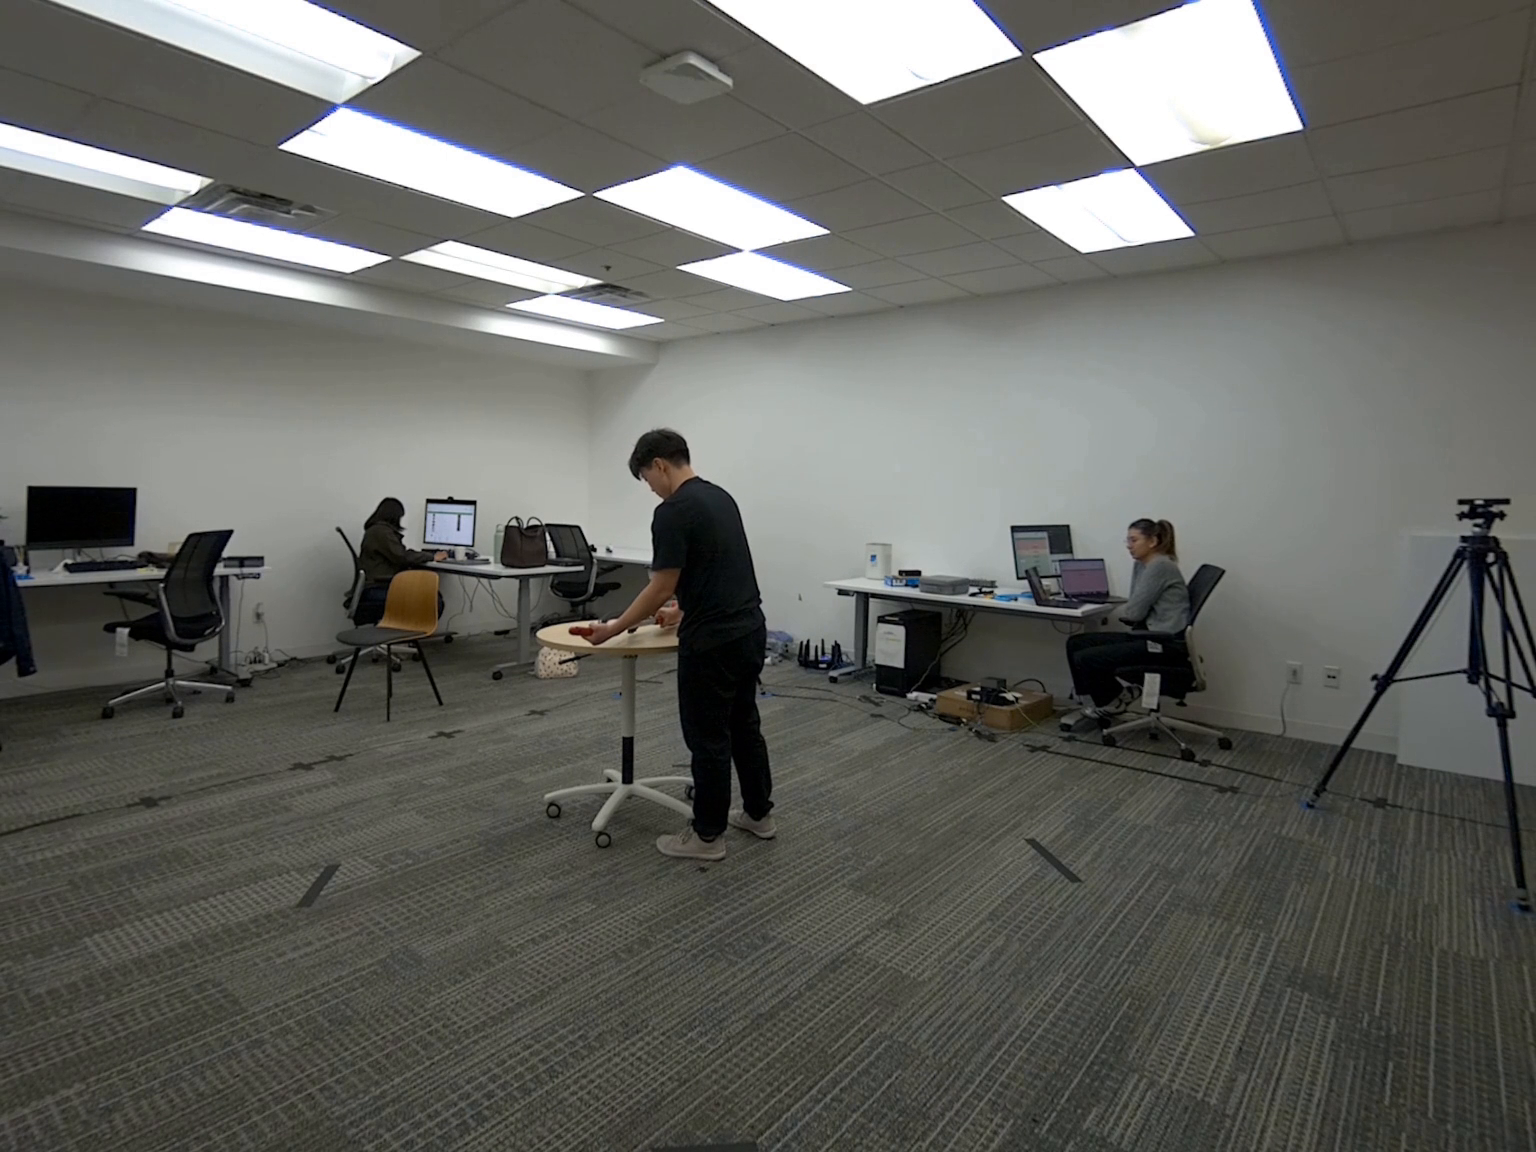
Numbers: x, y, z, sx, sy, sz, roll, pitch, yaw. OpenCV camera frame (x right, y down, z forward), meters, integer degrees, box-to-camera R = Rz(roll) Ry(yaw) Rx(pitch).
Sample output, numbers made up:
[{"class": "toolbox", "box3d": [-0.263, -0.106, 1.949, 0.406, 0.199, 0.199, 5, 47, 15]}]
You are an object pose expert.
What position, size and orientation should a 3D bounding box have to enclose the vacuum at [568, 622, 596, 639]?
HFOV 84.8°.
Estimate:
[{"class": "vacuum", "box3d": [-0.508, 0.186, 3.503, 0.148, 0.251, 1.027, 18, 9, 19]}]
